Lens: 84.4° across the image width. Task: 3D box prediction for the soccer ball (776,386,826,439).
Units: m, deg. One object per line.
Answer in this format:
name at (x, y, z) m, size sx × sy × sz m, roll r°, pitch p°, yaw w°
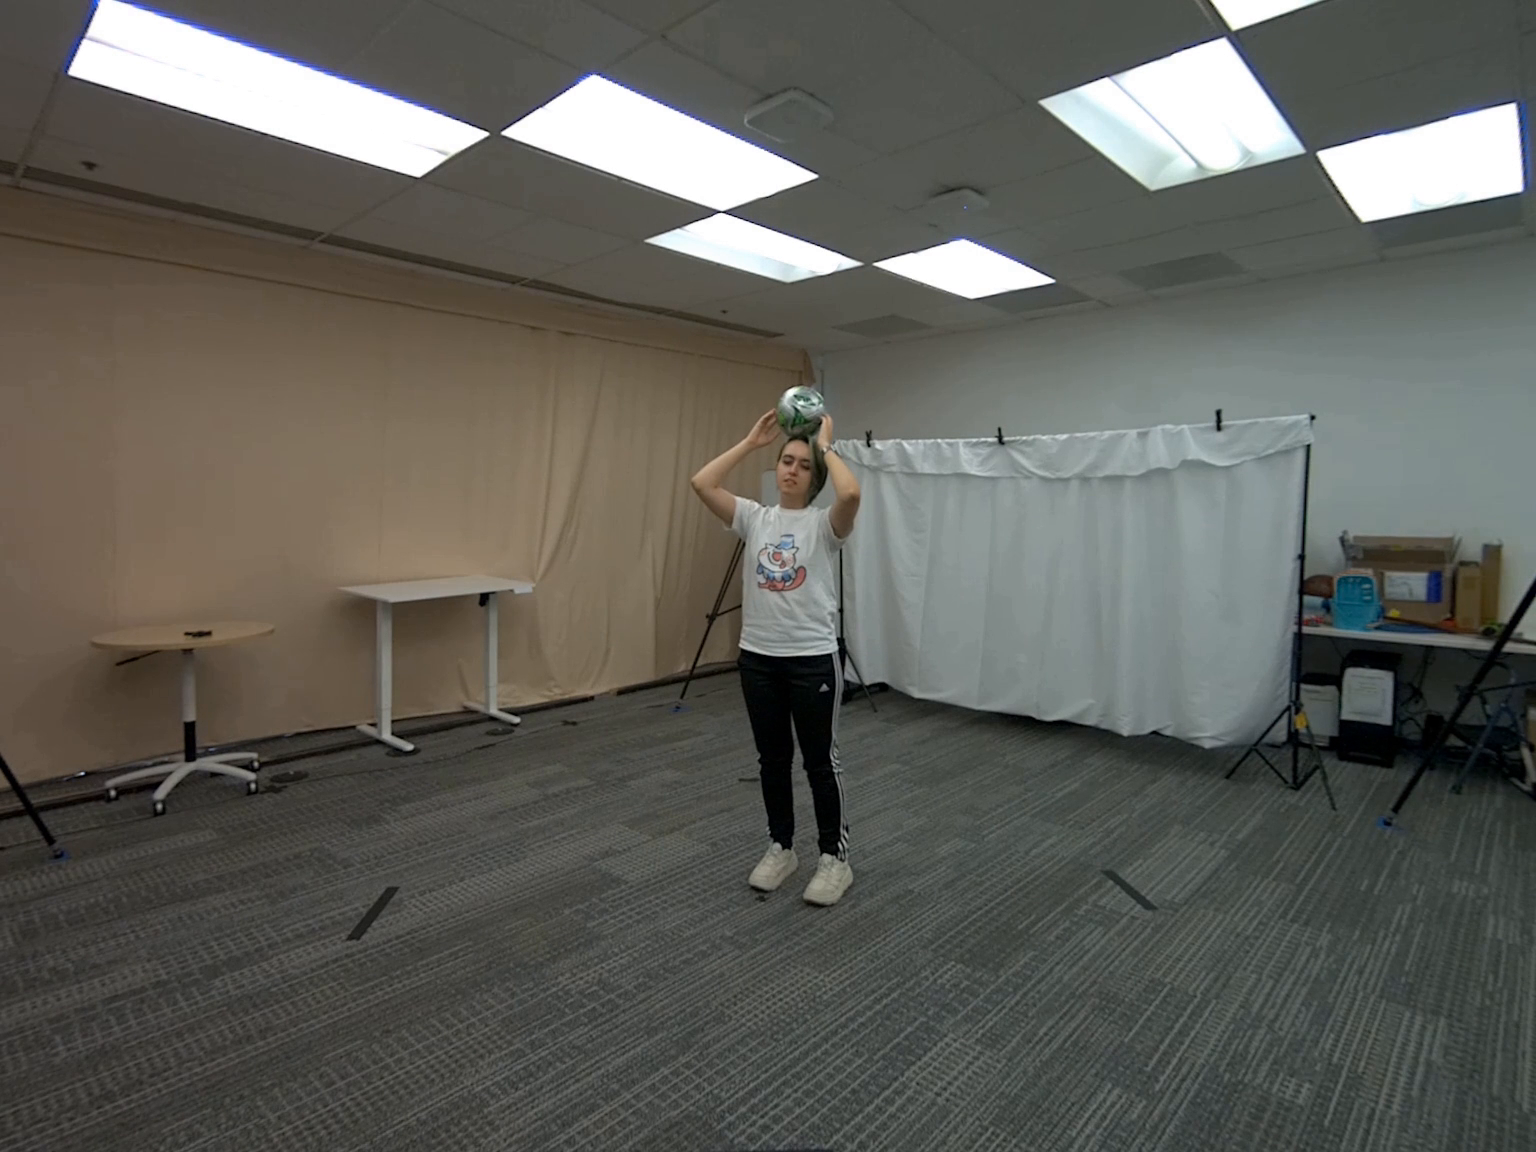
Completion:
soccer ball at (0.121, -0.585, 3.023) m, size 0.187 × 0.187 × 0.188 m, roll 0°, pitch 4°, yaw -2°
